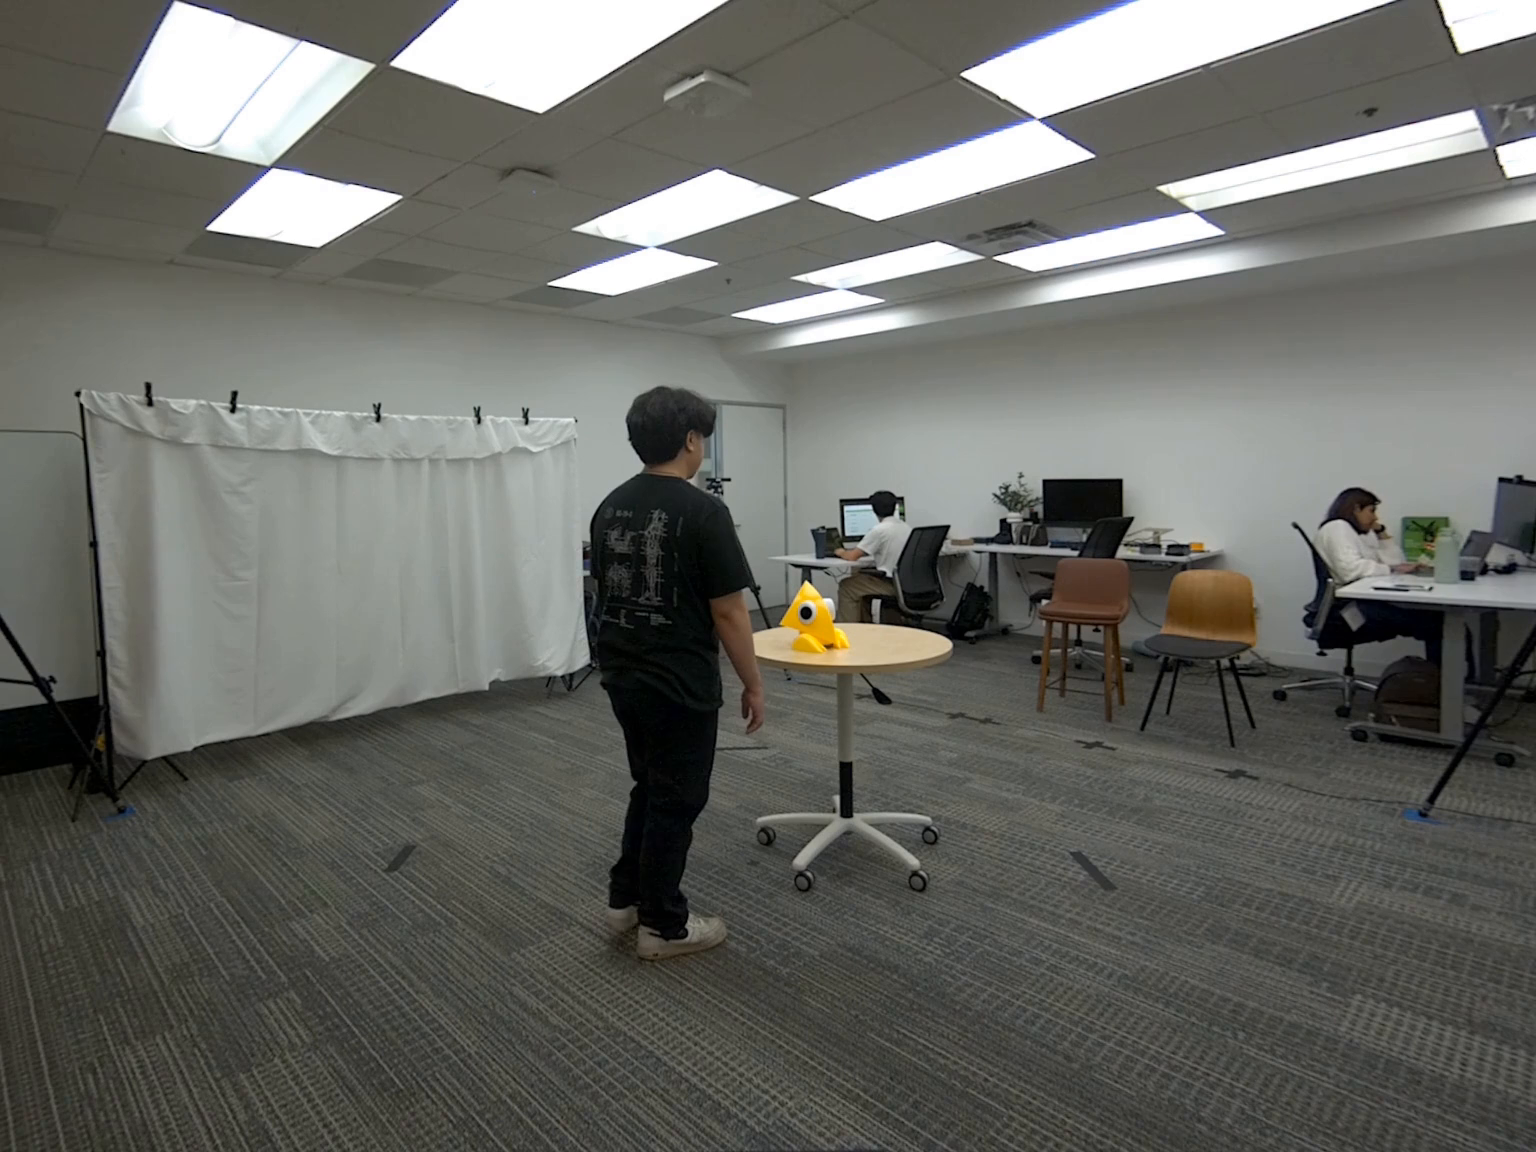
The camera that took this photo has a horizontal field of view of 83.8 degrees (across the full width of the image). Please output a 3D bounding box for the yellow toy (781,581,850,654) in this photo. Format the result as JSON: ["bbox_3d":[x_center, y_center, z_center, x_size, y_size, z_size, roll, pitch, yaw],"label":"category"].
[{"bbox_3d":[0.182,0.138,3.048,0.199,0.230,0.199,-5,7,-37],"label":"yellow toy"}]
